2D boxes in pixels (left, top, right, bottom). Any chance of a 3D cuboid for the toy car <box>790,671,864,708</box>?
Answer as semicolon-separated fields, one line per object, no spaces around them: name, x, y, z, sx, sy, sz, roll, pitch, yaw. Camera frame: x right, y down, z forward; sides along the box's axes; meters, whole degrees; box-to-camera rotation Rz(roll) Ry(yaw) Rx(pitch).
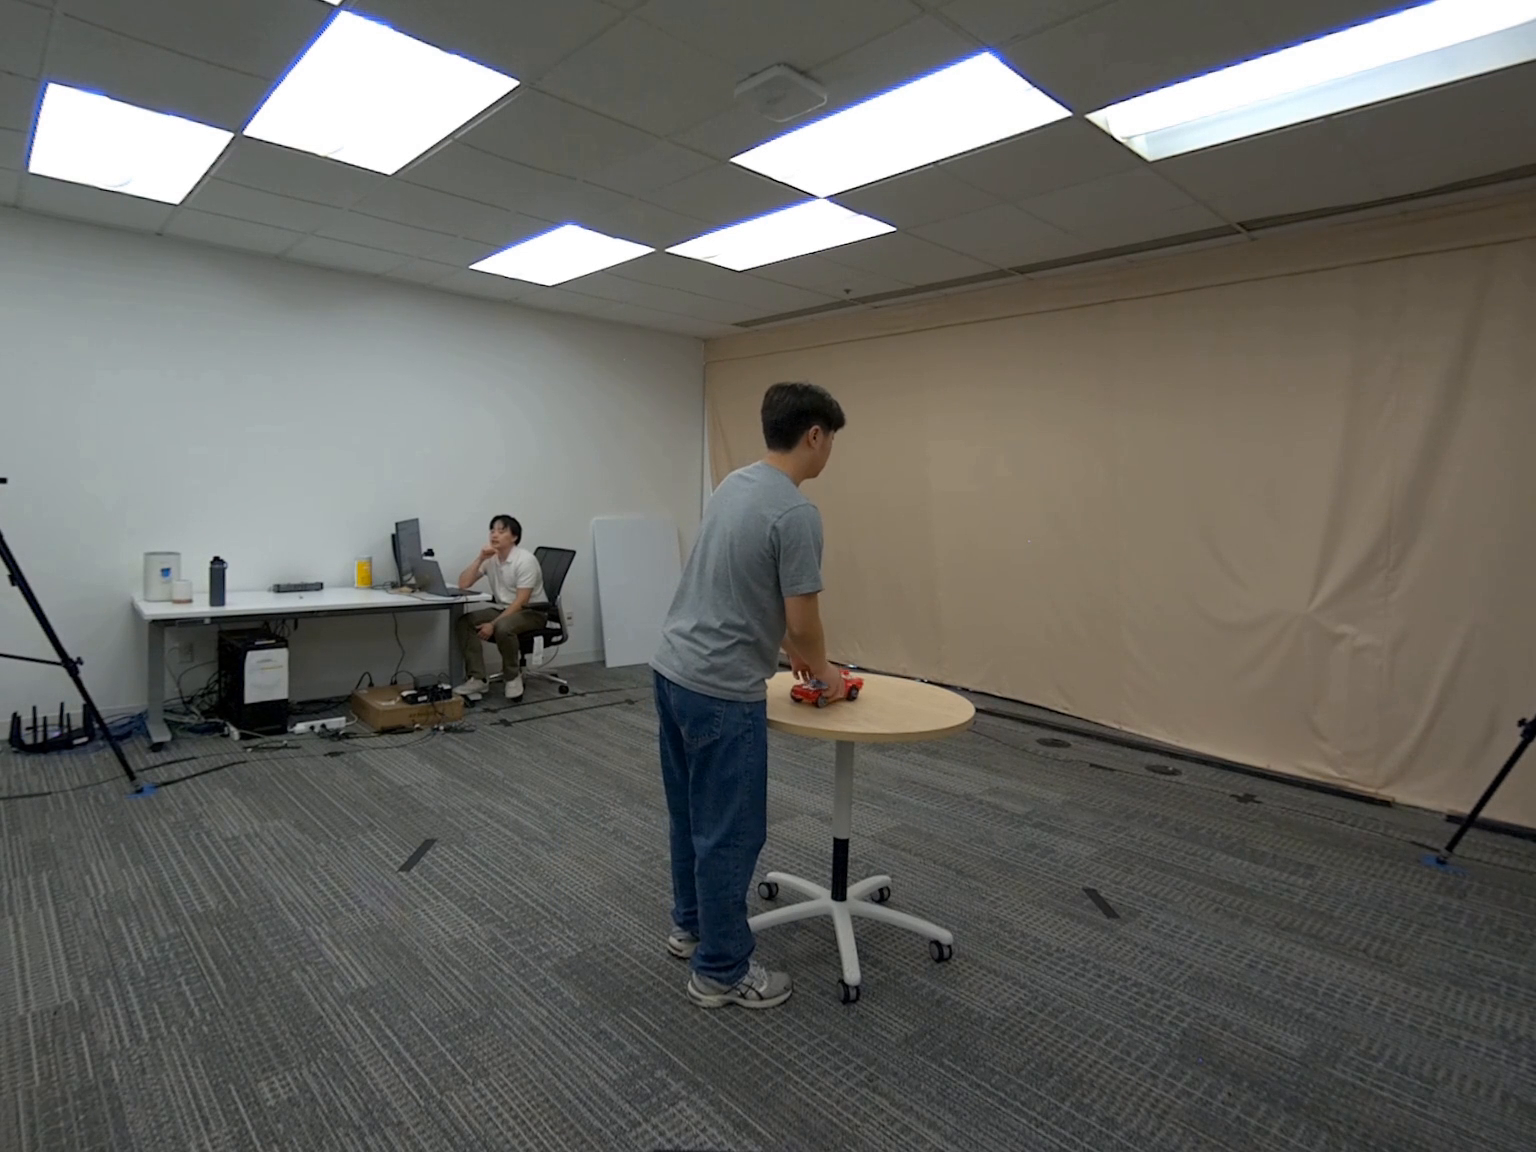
toy car;0.190;0.350;2.562;0.133;0.082;0.250;6;18;44
